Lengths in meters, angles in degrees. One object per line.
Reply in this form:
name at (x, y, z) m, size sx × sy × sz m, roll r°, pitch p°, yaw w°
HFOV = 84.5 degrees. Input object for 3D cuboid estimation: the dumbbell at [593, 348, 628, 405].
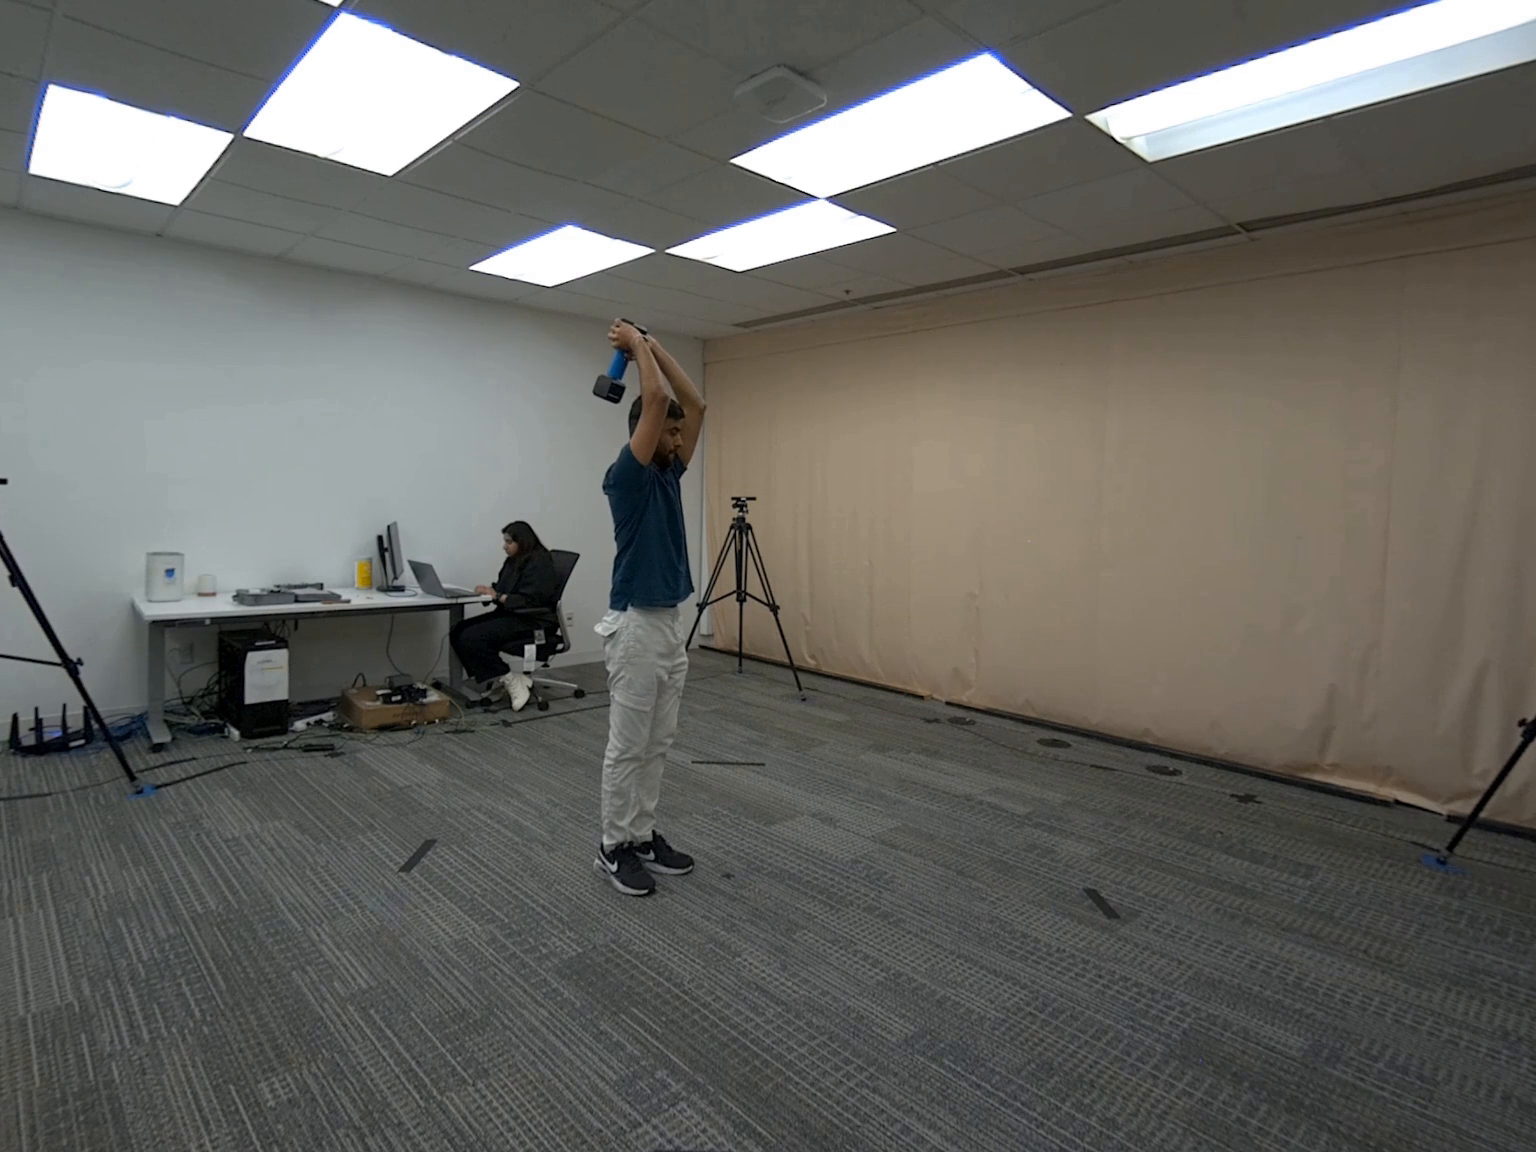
dumbbell at (-0.551, -0.770, 3.036) m, size 0.125 × 0.292 × 0.107 m, roll 25°, pitch 12°, yaw 19°
